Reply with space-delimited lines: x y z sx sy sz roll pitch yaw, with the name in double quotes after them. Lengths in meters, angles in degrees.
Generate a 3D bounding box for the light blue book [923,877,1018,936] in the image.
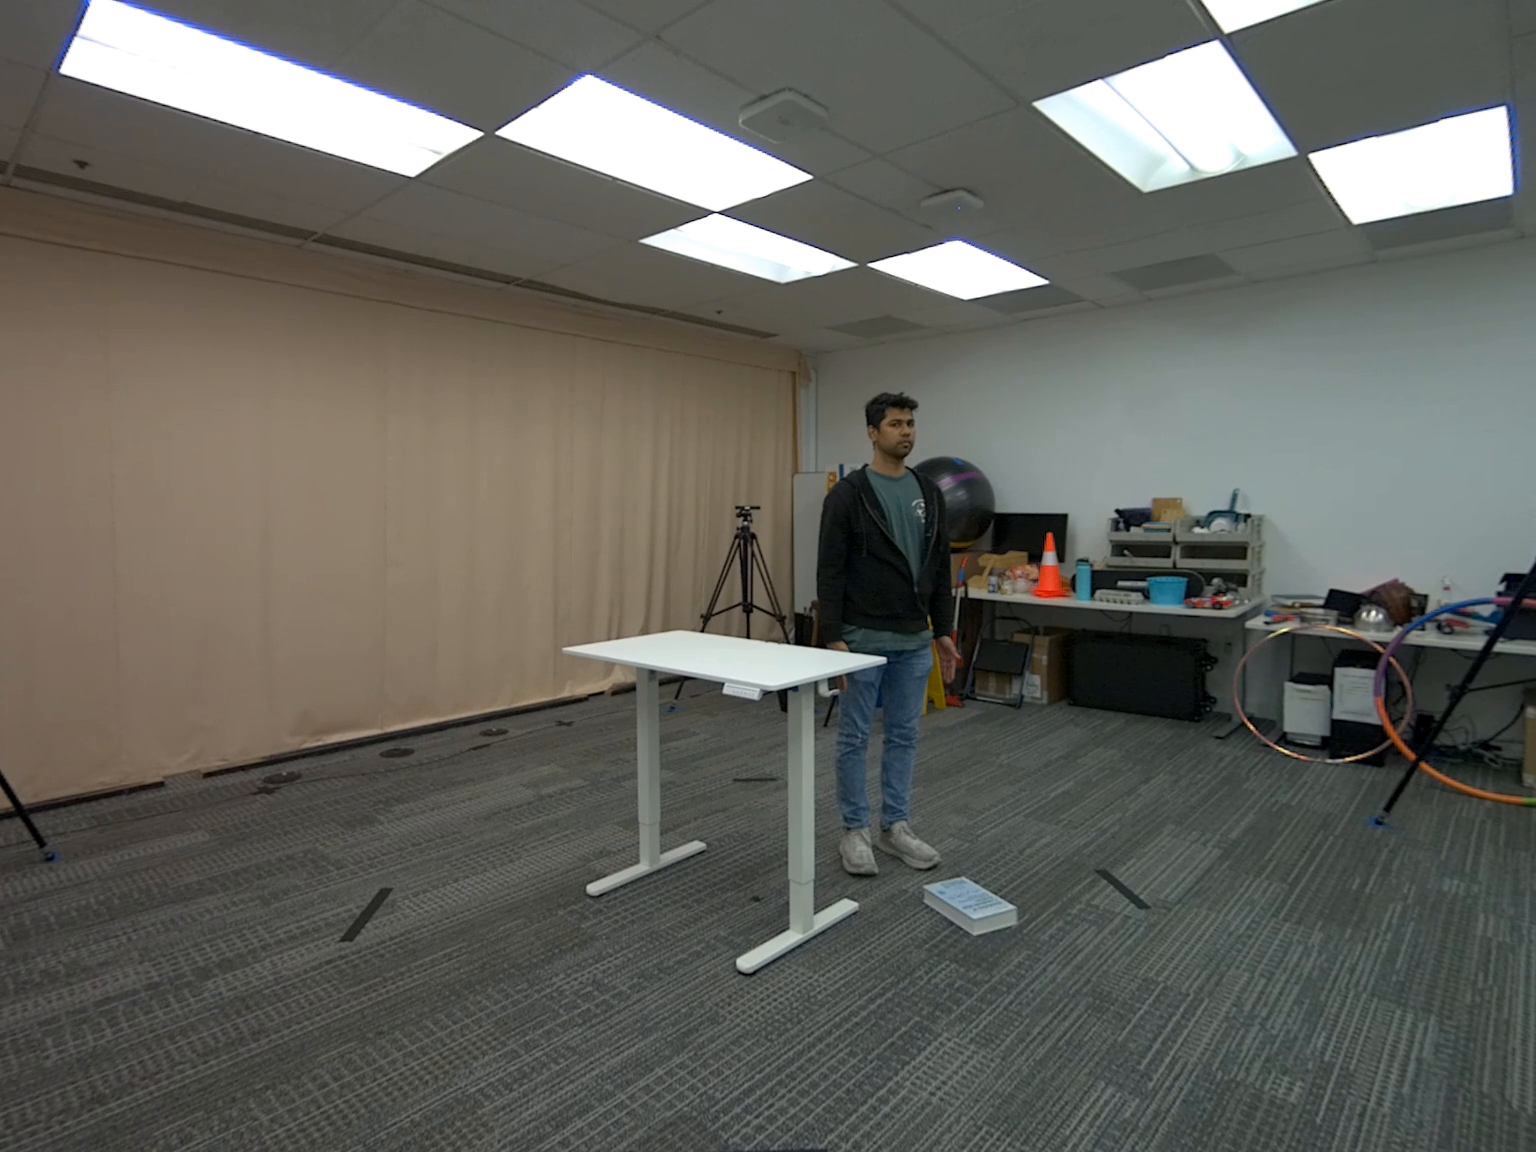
0.684 1.117 2.874 0.187 0.059 0.268 -3 5 -26 "light blue book"
